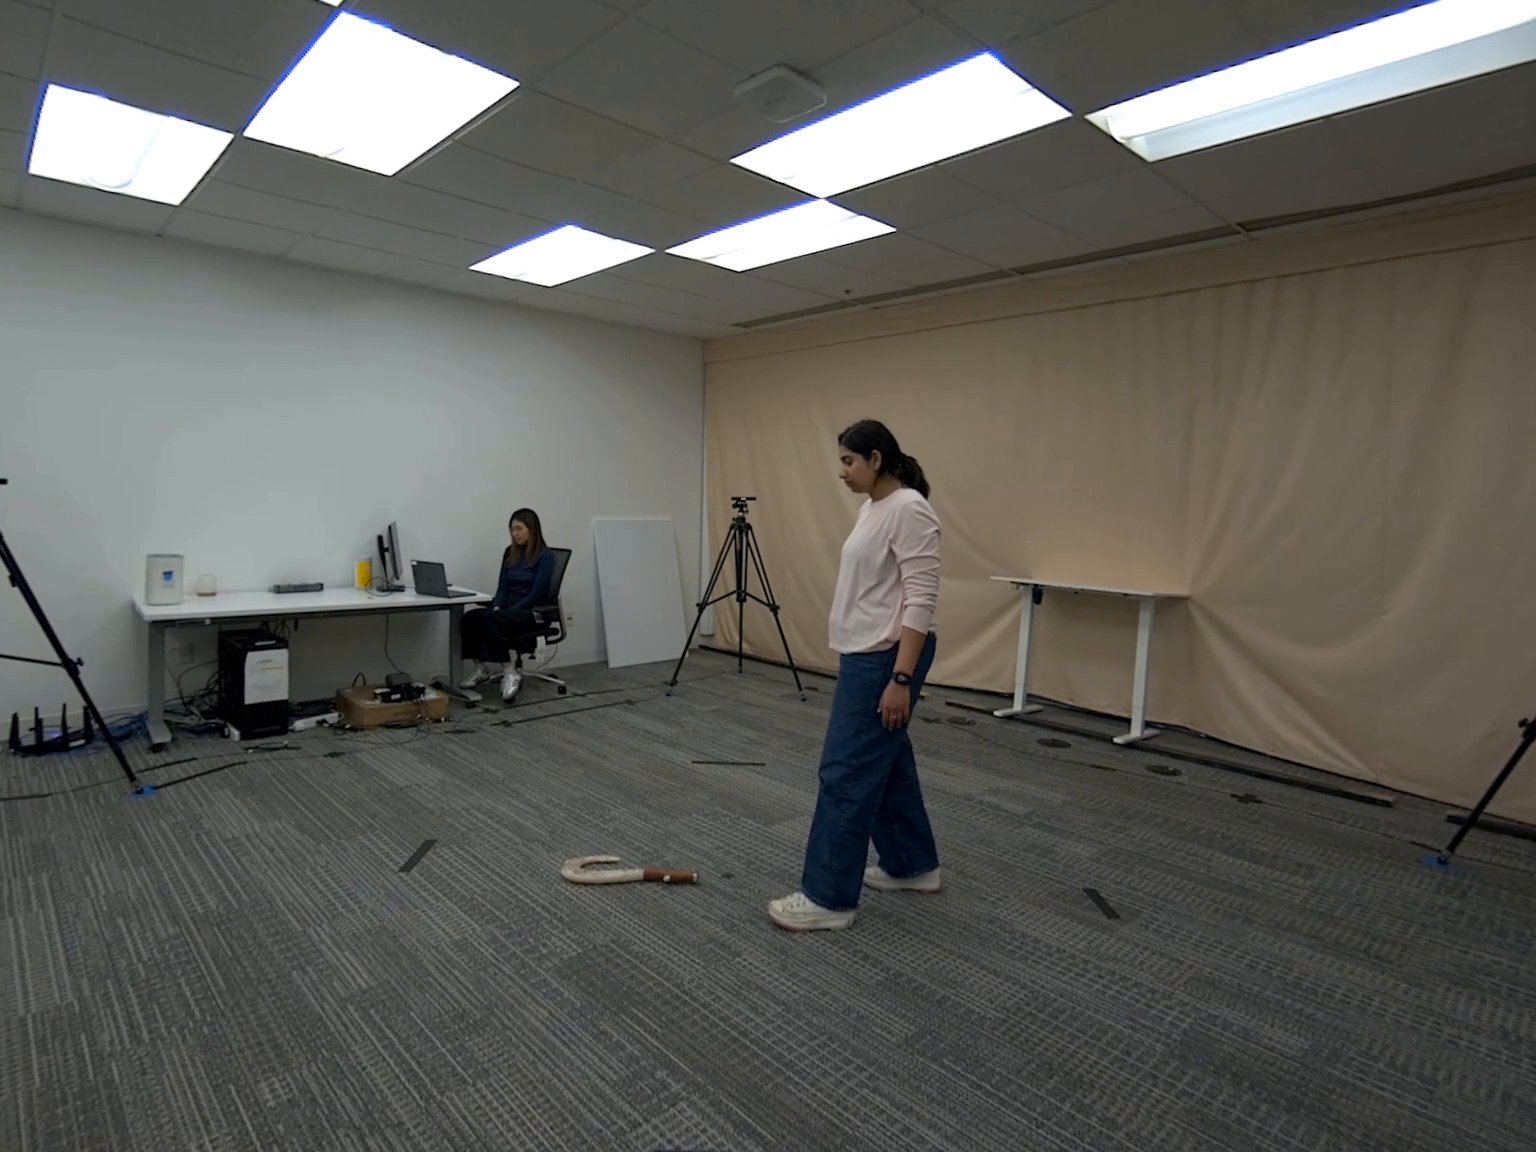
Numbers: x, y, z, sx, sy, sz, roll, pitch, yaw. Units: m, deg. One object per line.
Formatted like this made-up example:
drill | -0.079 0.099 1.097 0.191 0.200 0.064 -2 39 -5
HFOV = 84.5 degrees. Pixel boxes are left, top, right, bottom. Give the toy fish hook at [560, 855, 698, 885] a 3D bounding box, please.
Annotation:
toy fish hook | -0.513 1.072 3.094 0.507 0.048 0.225 1 7 2
